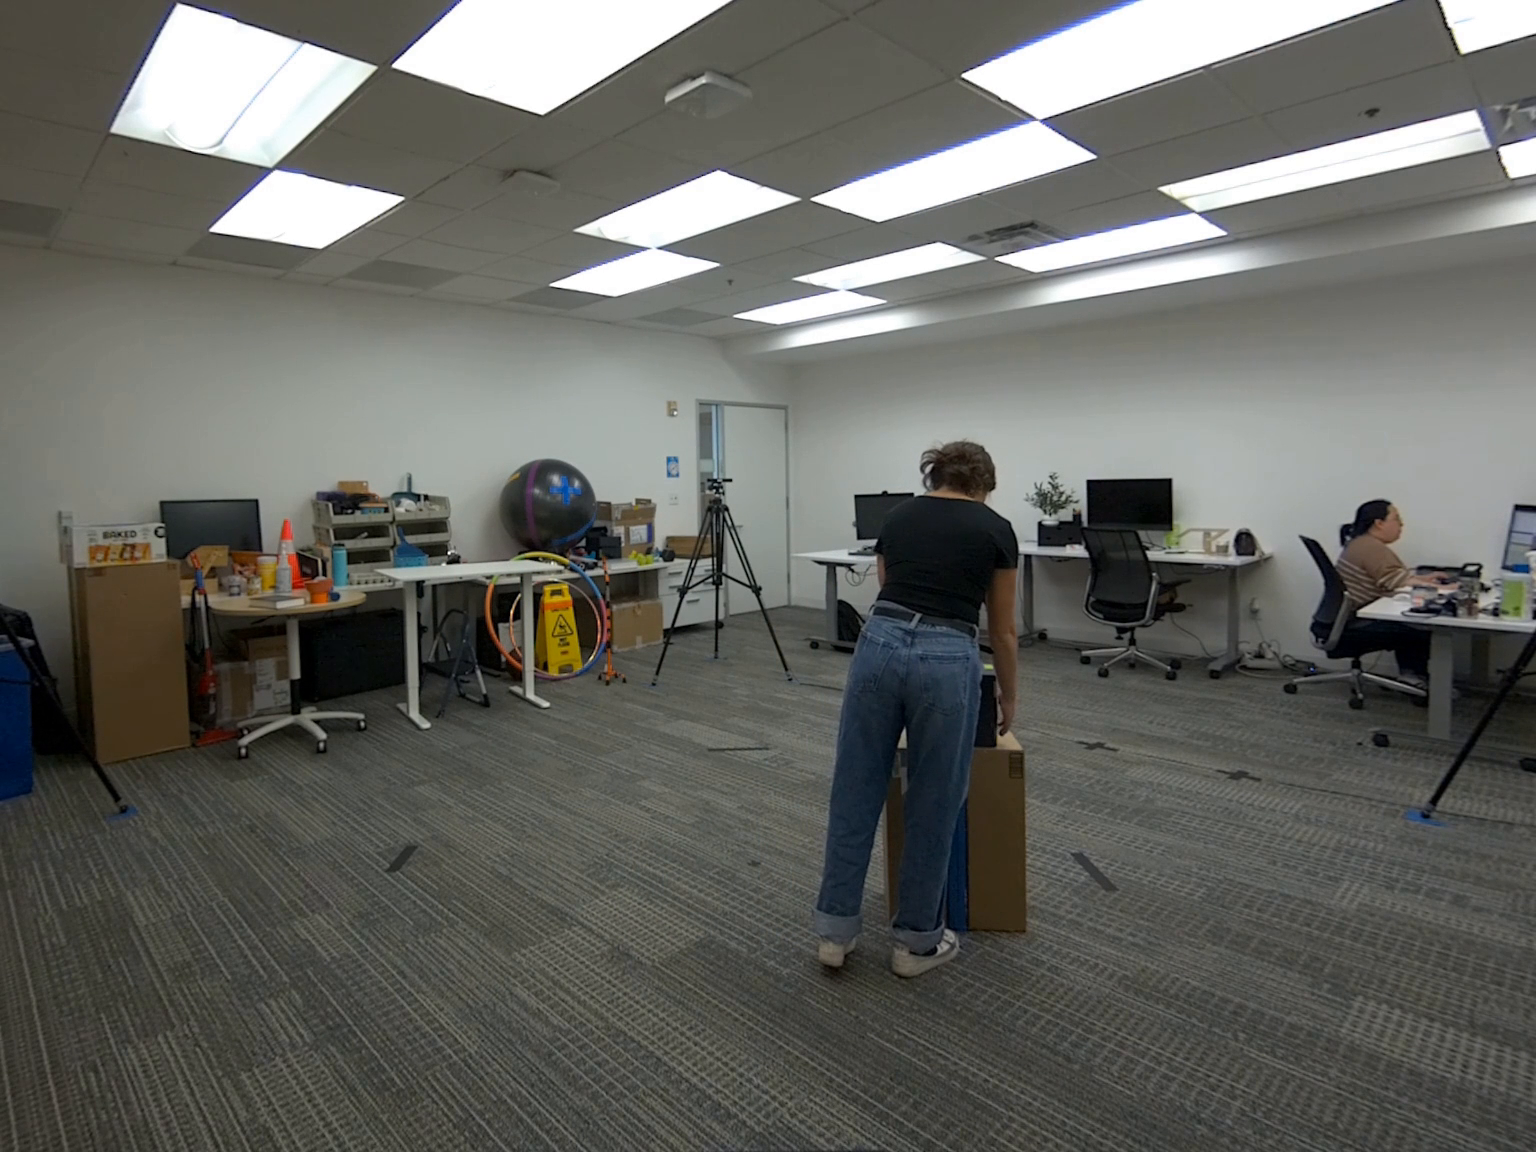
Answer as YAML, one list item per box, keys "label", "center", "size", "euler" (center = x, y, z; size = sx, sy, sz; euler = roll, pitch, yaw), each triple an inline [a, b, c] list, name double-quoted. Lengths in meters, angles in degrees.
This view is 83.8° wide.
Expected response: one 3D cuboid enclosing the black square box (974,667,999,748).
- label: "black square box"
  center: [0.608, 0.399, 2.693]
  size: [0.219, 0.227, 0.155]
  euler: [0, 5, 10]
